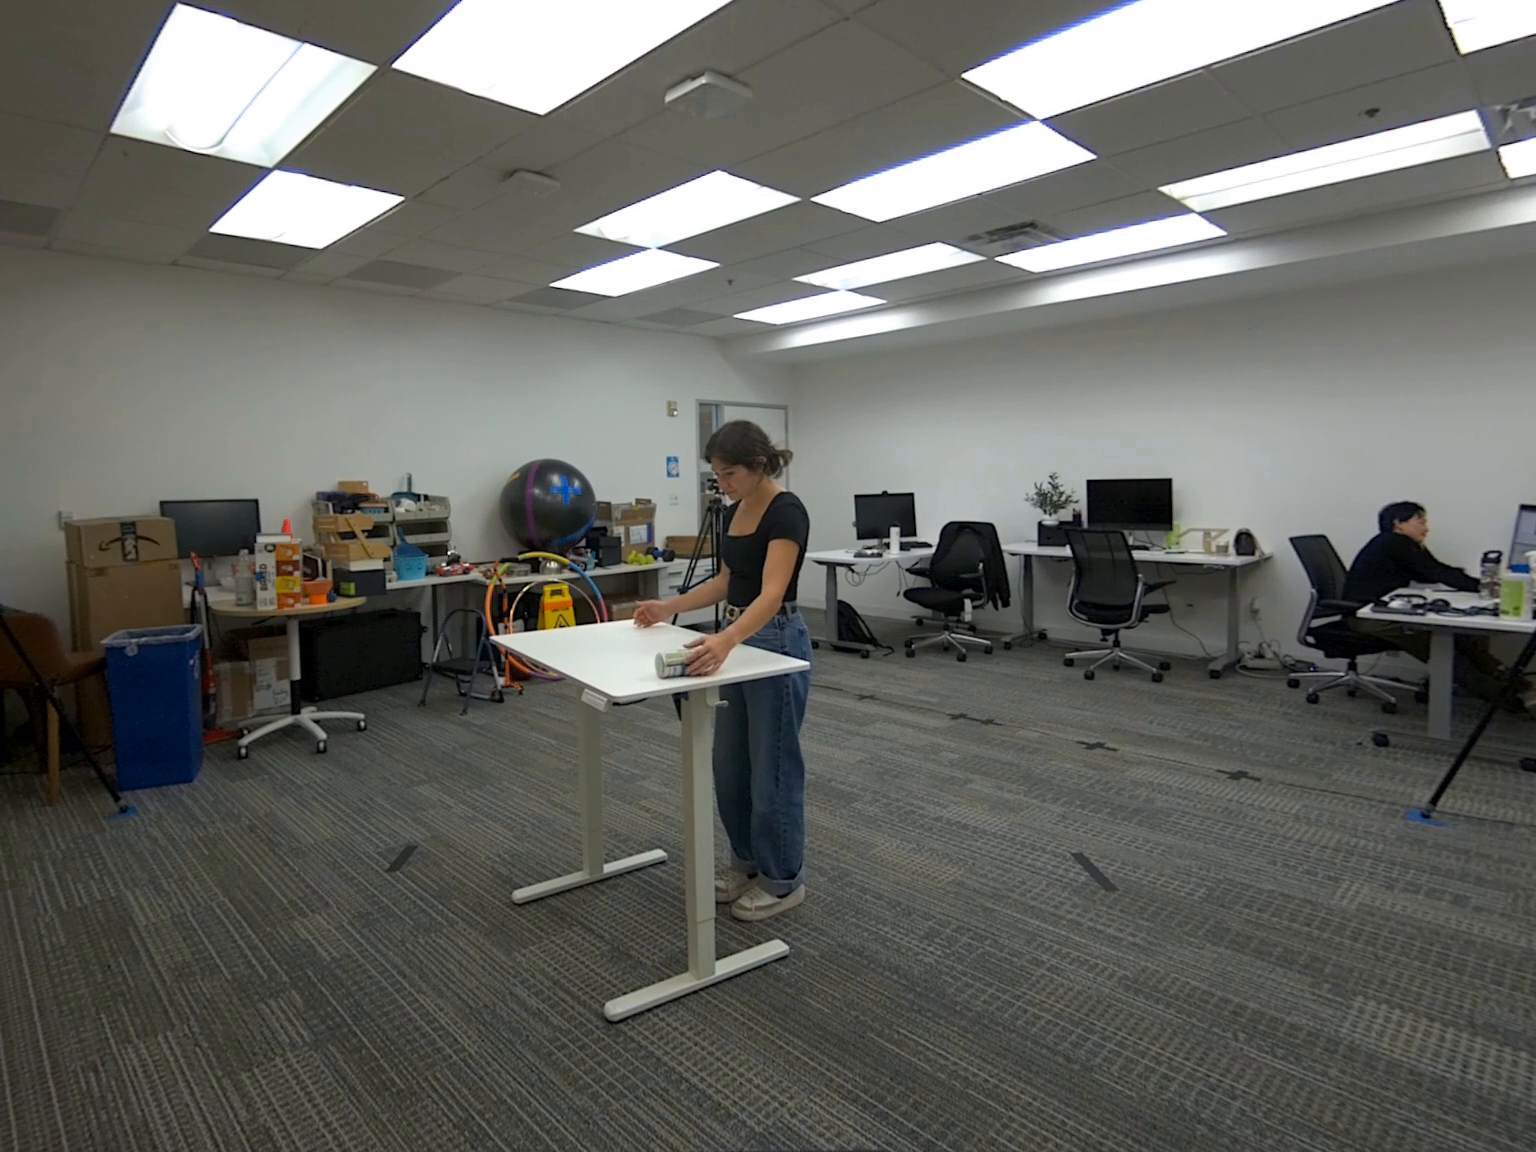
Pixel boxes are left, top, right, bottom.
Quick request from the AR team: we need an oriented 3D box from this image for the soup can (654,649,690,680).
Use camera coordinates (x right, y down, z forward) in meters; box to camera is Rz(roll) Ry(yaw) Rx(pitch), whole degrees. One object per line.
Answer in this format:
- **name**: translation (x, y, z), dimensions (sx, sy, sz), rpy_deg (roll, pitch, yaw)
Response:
- **soup can**: translation (-0.229, 0.231, 2.256), dimensions (0.119, 0.067, 0.069), rpy_deg (-4, 6, -26)
